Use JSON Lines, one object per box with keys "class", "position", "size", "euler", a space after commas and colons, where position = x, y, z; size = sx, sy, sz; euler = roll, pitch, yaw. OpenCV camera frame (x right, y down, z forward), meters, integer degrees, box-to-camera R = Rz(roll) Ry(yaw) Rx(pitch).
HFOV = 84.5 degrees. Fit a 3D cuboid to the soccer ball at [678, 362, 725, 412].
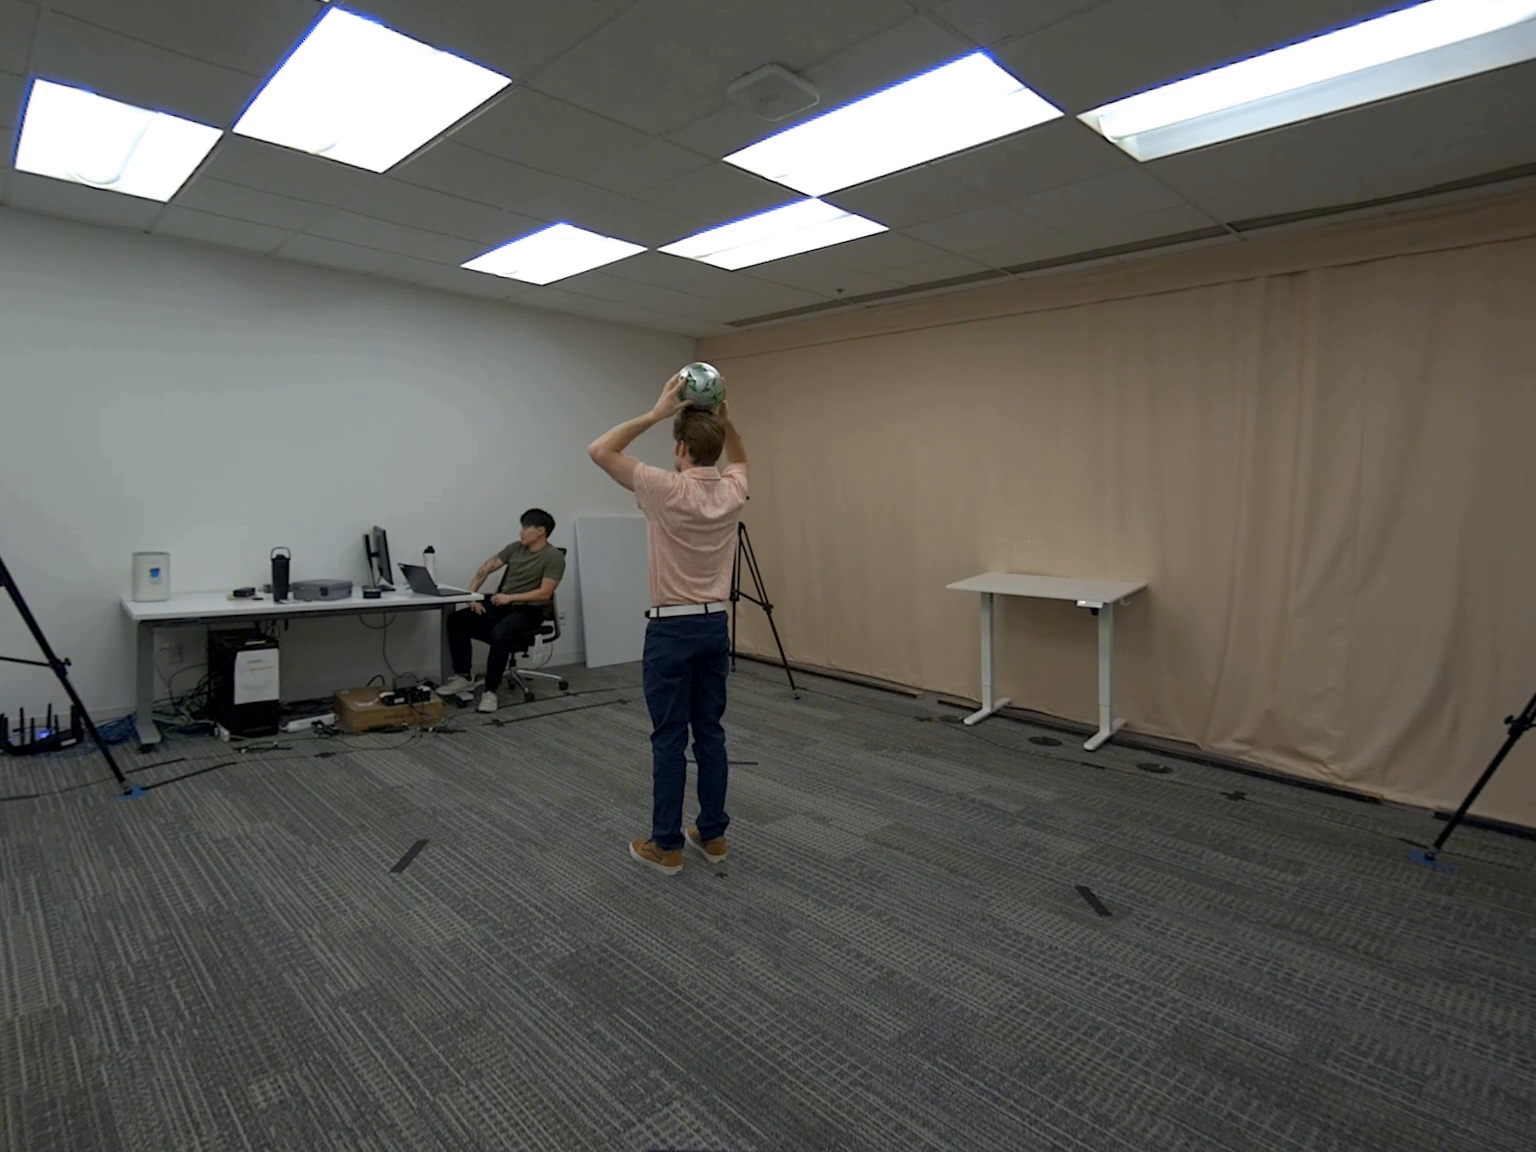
{"class": "soccer ball", "position": [-0.265, -0.693, 3.141], "size": [0.187, 0.187, 0.188], "euler": [1, 4, -1]}
